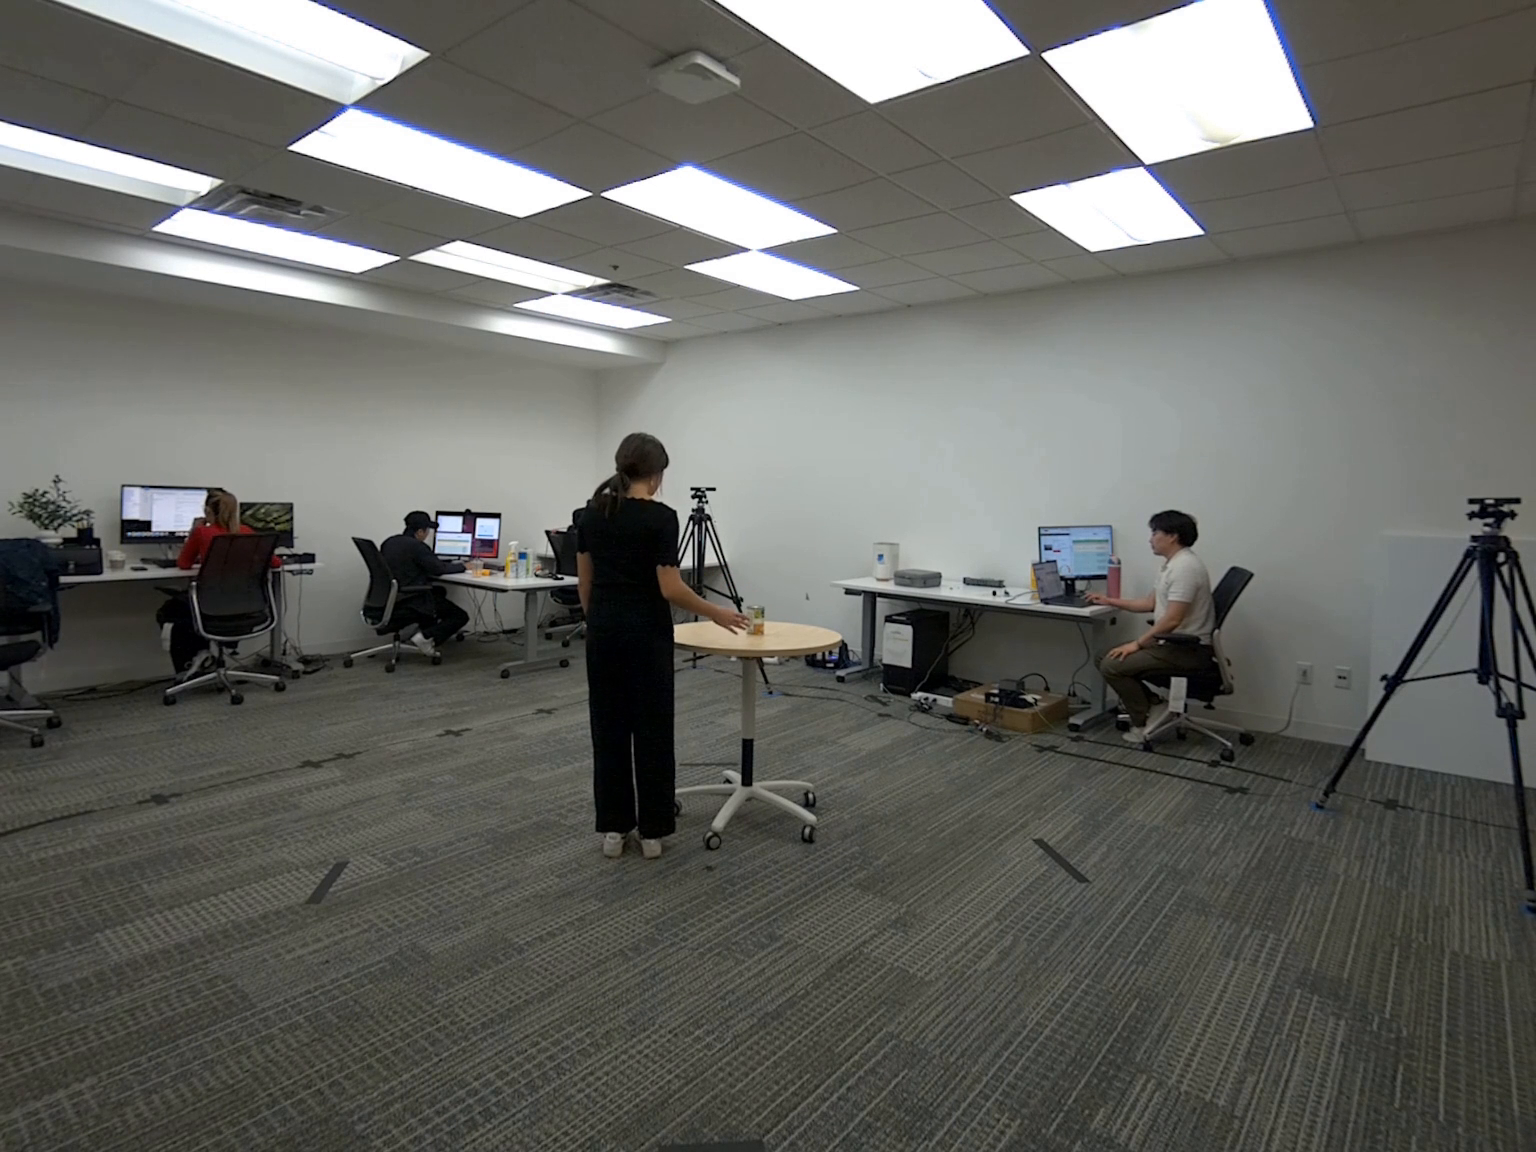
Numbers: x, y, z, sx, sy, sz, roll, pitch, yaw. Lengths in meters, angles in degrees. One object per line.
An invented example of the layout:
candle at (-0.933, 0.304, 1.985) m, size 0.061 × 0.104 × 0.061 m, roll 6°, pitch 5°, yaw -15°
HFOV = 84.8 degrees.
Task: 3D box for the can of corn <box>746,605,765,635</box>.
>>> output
can of corn at (-0.064, 0.184, 3.575) m, size 0.074 × 0.111 × 0.074 m, roll 2°, pitch 3°, yaw -2°
